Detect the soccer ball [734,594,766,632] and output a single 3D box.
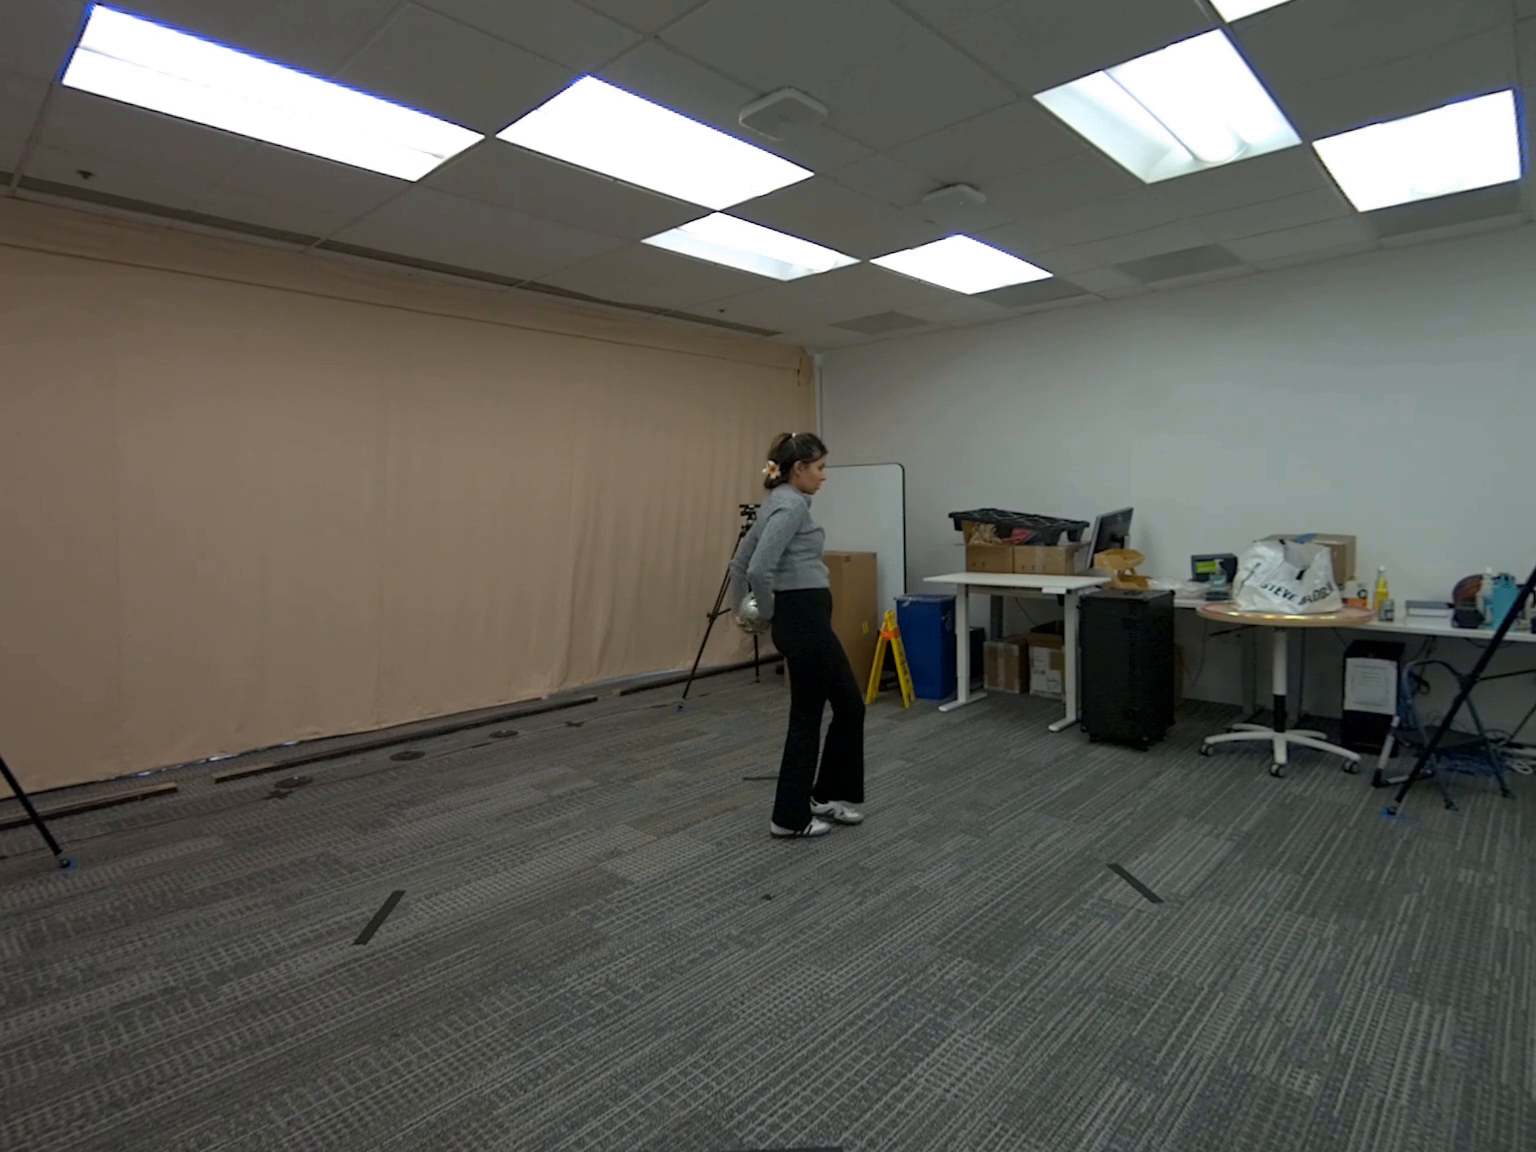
[{"bbox_3d":[-0.025,0.153,3.682,0.187,0.187,0.188,-1,4,-2],"label":"soccer ball"}]
